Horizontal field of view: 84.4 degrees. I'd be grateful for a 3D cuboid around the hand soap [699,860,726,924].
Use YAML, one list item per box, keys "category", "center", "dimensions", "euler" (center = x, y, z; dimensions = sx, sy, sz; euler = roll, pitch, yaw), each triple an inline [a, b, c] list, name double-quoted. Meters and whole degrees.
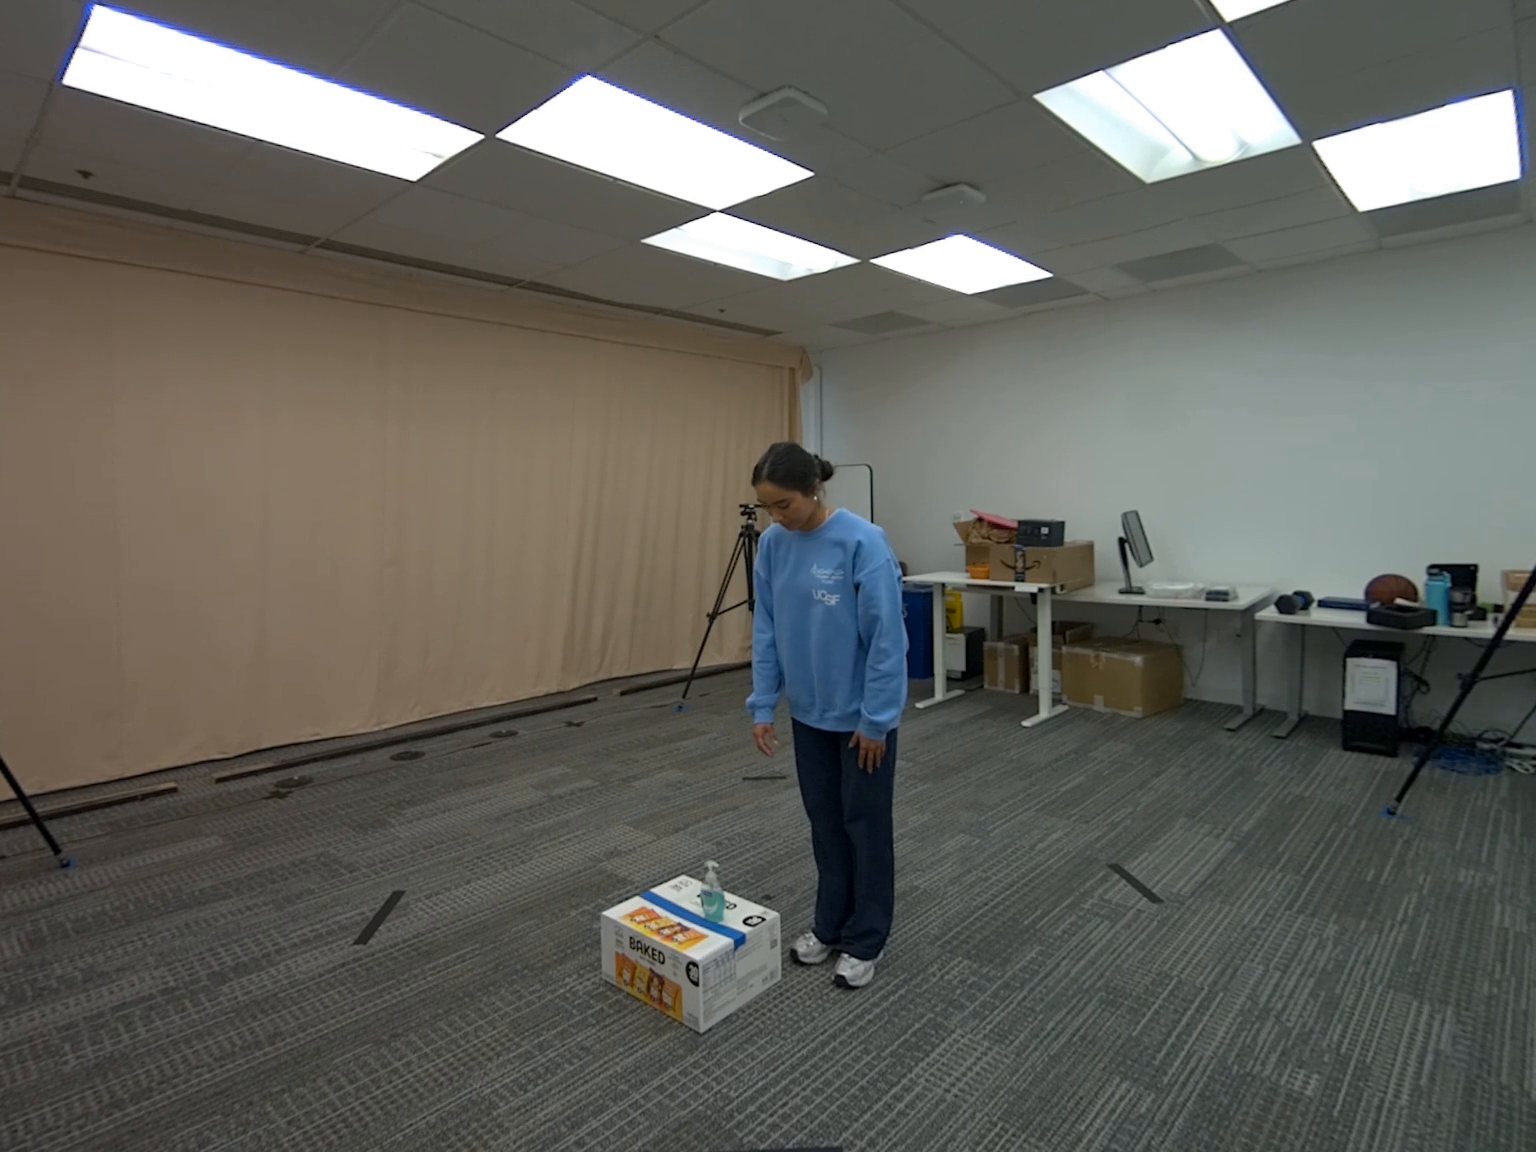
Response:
- category: "hand soap"
  center: [-0.157, 0.913, 2.438]
  dimensions: [0.087, 0.168, 0.042]
  euler: [-4, 0, 41]
